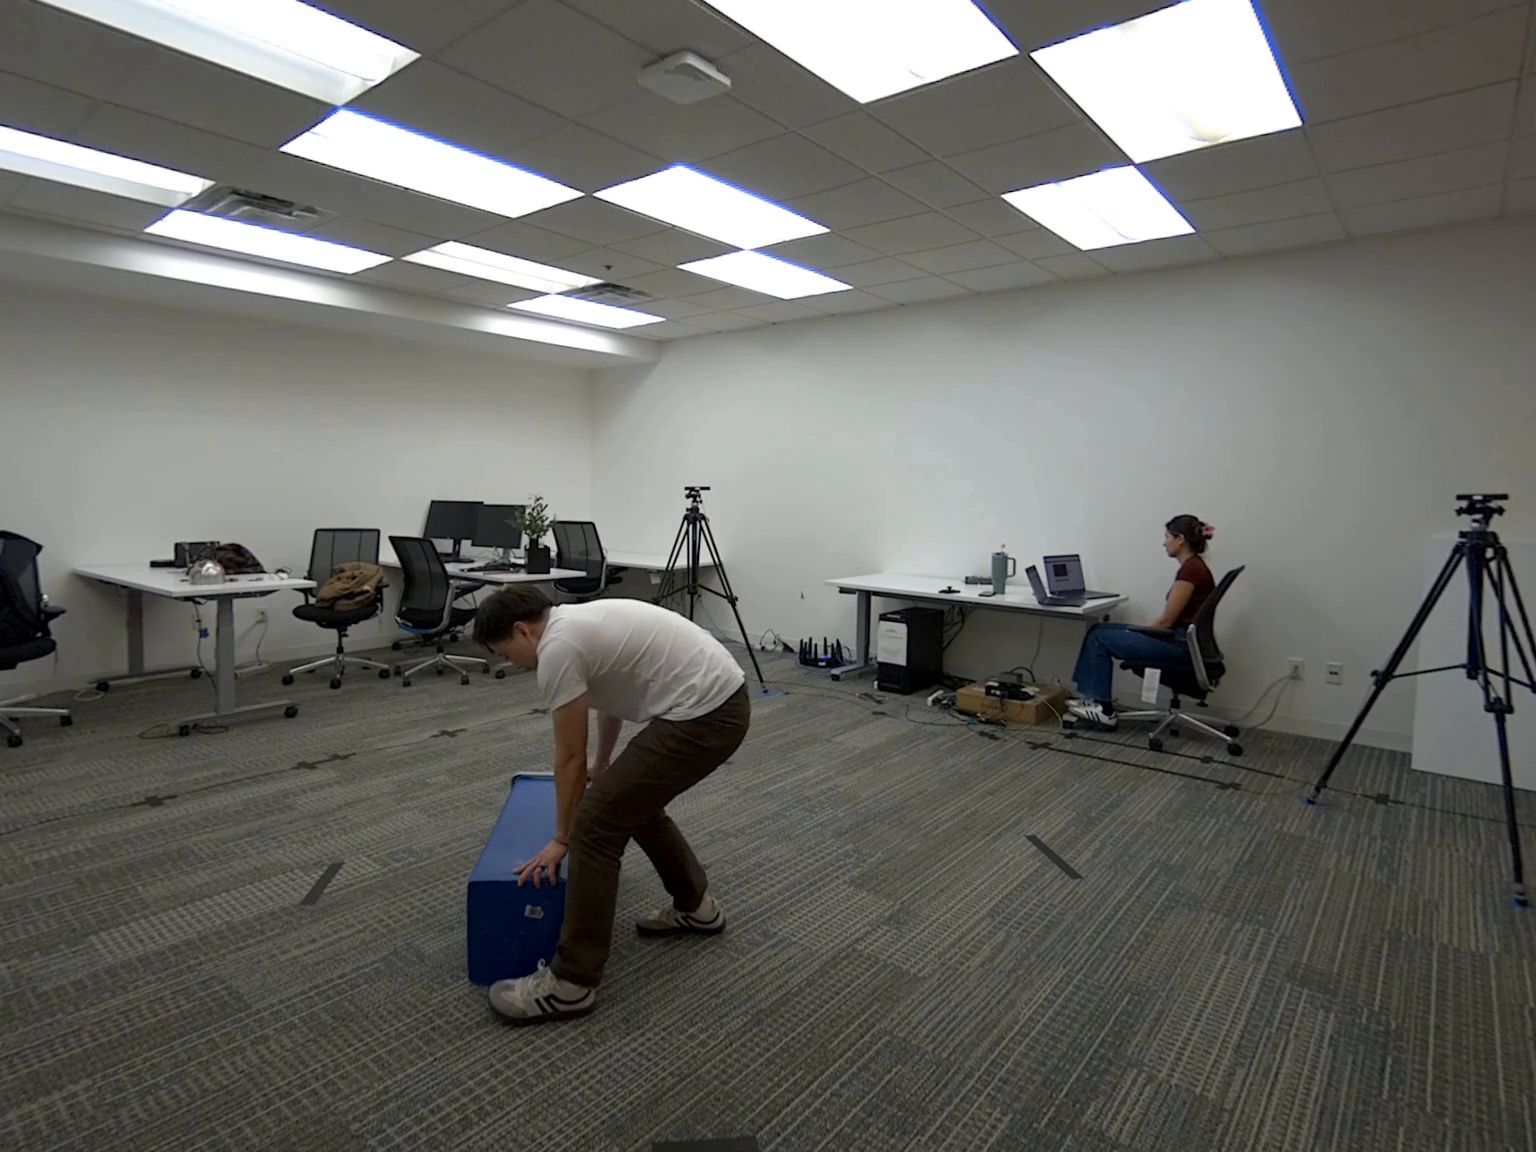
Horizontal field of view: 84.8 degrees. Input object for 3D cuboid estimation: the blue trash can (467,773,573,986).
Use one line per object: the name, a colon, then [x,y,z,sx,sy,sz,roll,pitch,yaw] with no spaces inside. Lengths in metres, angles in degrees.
blue trash can: [-0.727,0.928,2.703,0.373,0.376,0.719,2,7,-4]
